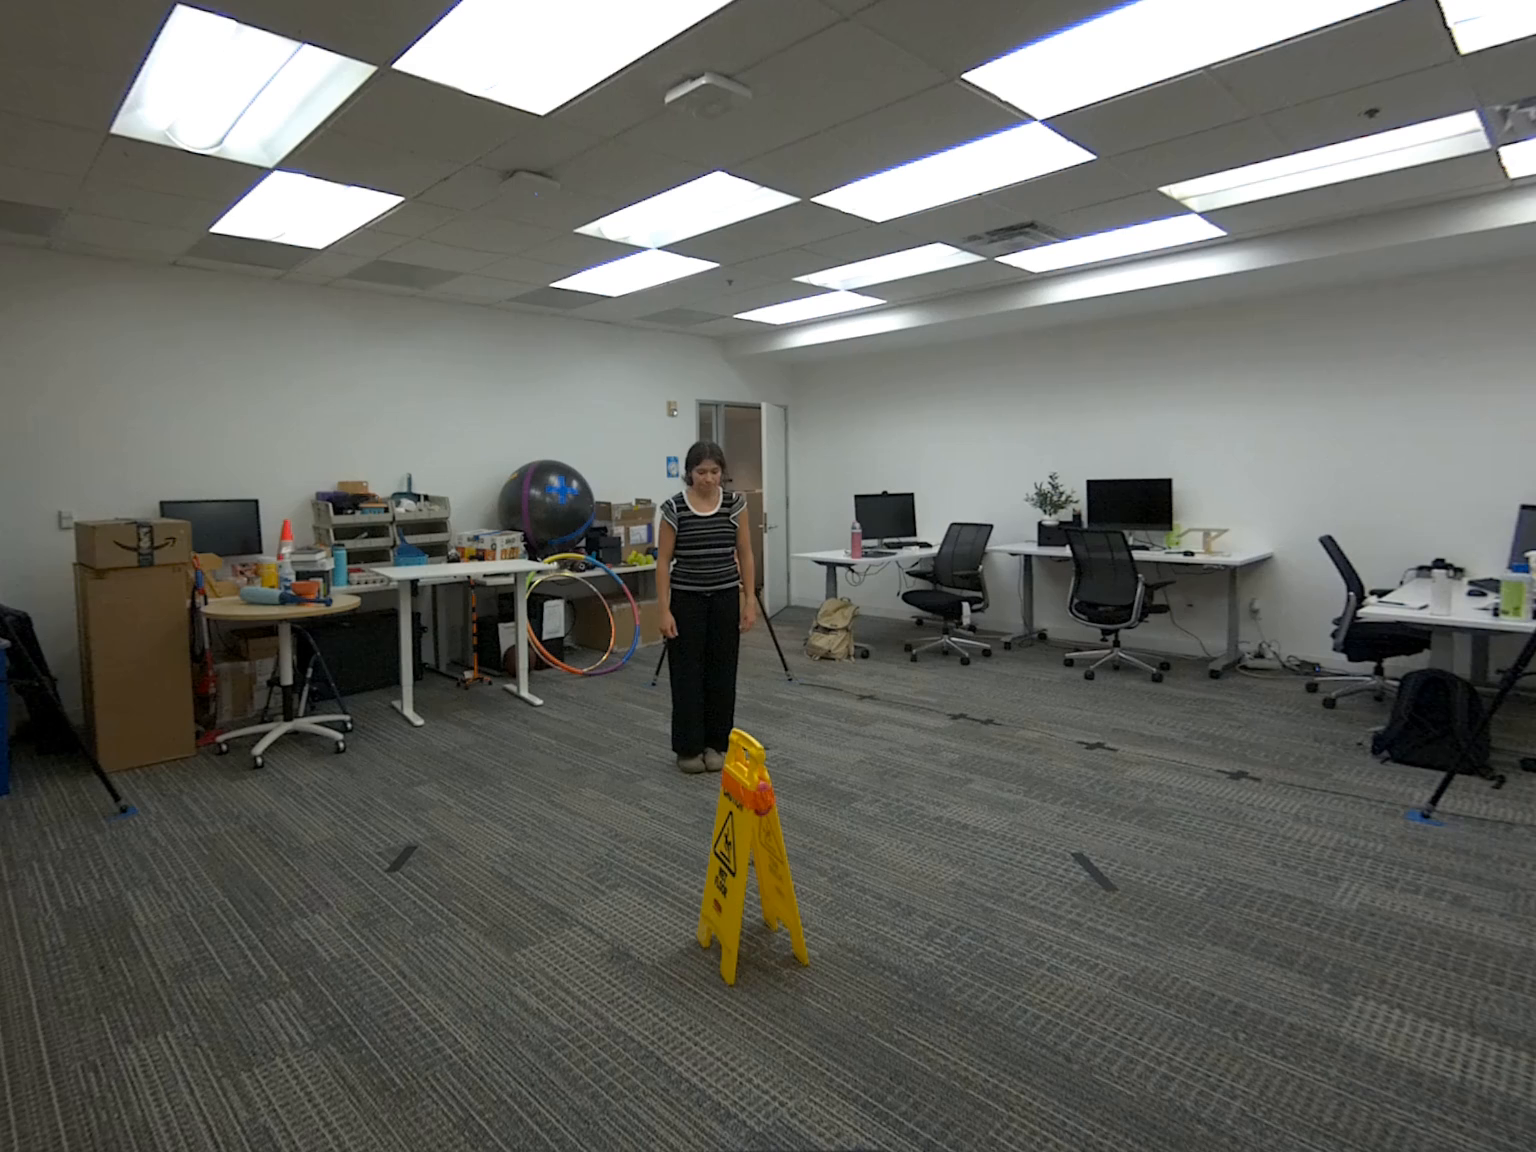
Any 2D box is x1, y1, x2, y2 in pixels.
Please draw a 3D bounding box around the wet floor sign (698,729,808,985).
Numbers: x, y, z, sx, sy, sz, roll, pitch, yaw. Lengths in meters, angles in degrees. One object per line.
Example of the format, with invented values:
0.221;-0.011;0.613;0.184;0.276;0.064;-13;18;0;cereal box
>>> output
-0.058;0.794;2.504;0.284;0.643;0.289;-3;5;-22;wet floor sign
